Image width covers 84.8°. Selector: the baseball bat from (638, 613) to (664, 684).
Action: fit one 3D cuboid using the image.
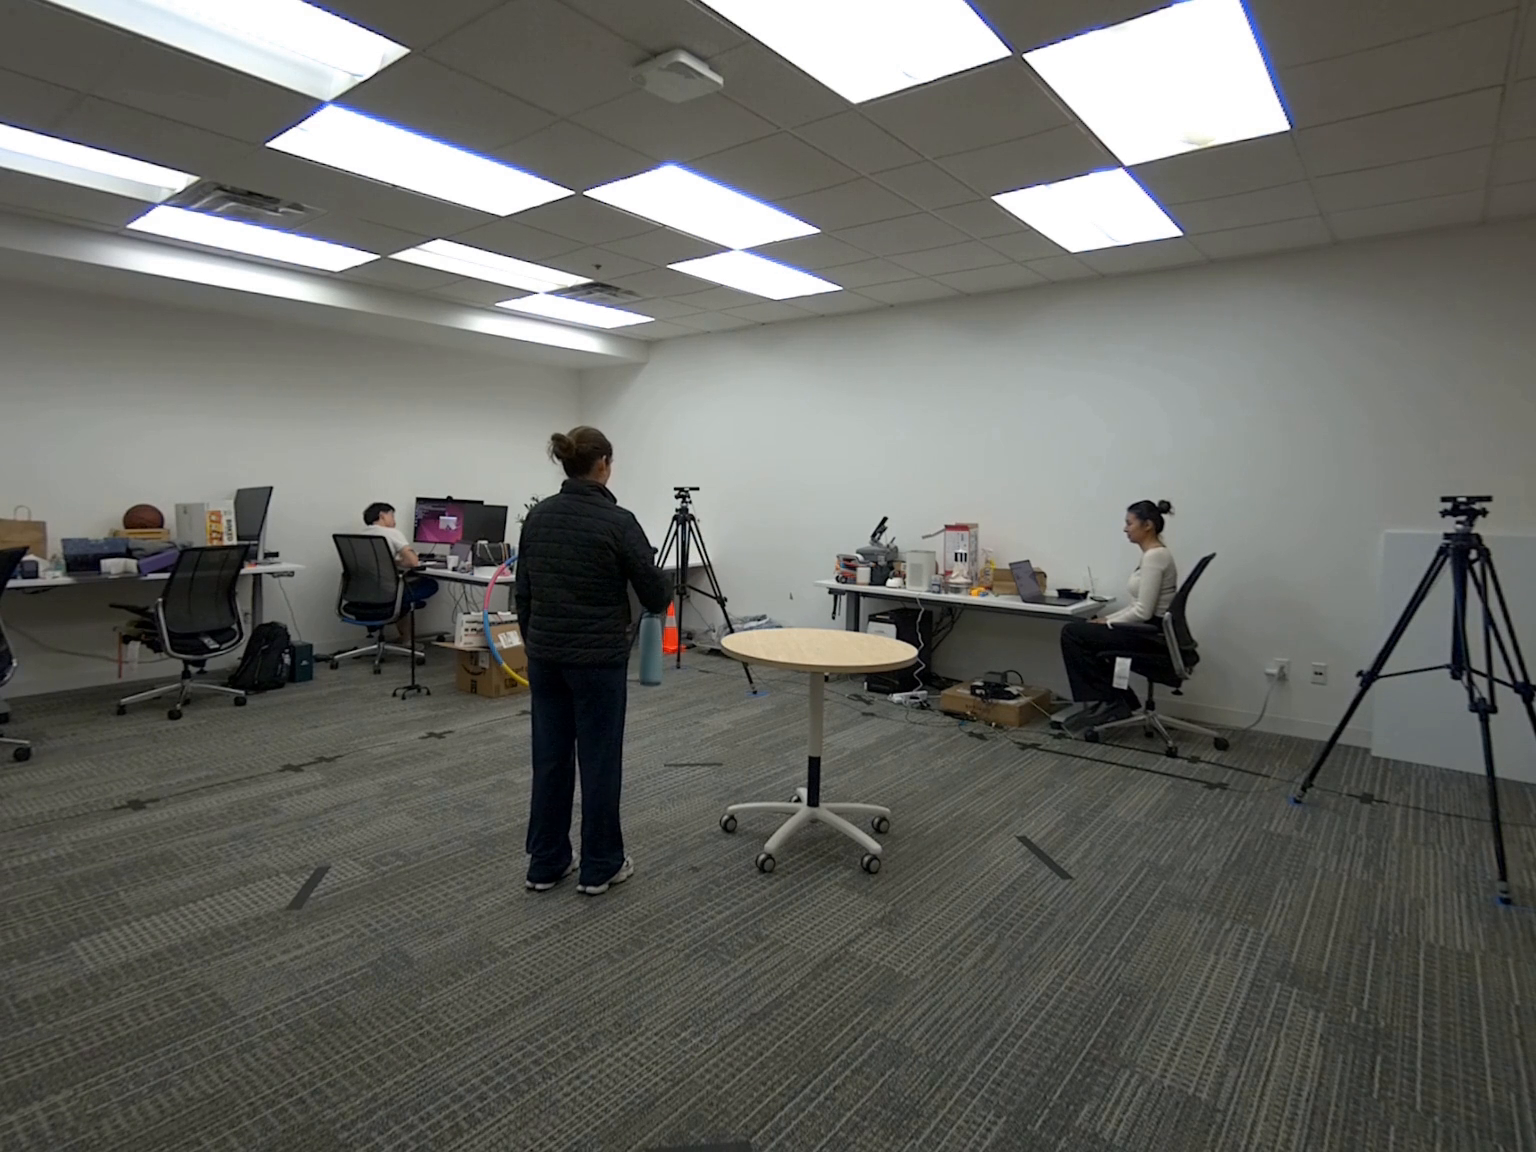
[{"bbox_3d":[-0.424,0.106,3.263,0.089,0.552,0.088,-2,-17,-2],"label":"baseball bat"}]
